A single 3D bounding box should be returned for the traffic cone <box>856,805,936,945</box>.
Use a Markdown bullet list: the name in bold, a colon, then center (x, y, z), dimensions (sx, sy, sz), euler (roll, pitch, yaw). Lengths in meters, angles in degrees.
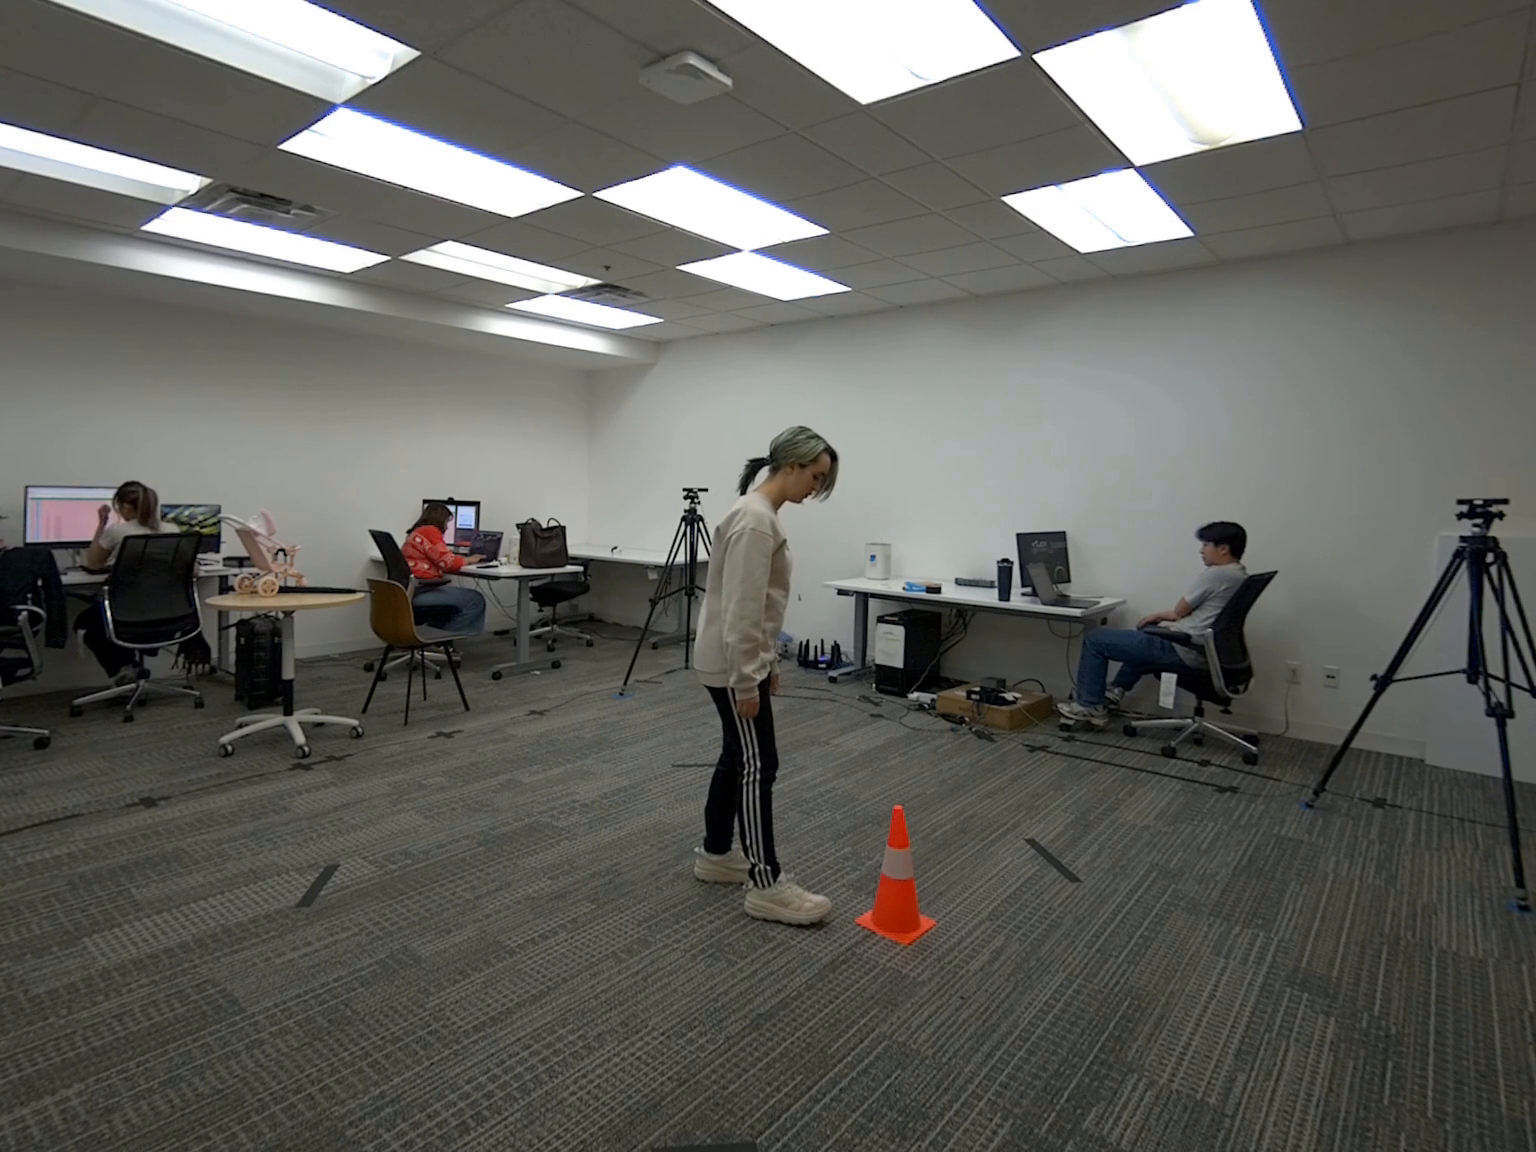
- **traffic cone**: center (0.408, 0.933, 2.743), dimensions (0.210, 0.382, 0.199), euler (2, 5, 43)
